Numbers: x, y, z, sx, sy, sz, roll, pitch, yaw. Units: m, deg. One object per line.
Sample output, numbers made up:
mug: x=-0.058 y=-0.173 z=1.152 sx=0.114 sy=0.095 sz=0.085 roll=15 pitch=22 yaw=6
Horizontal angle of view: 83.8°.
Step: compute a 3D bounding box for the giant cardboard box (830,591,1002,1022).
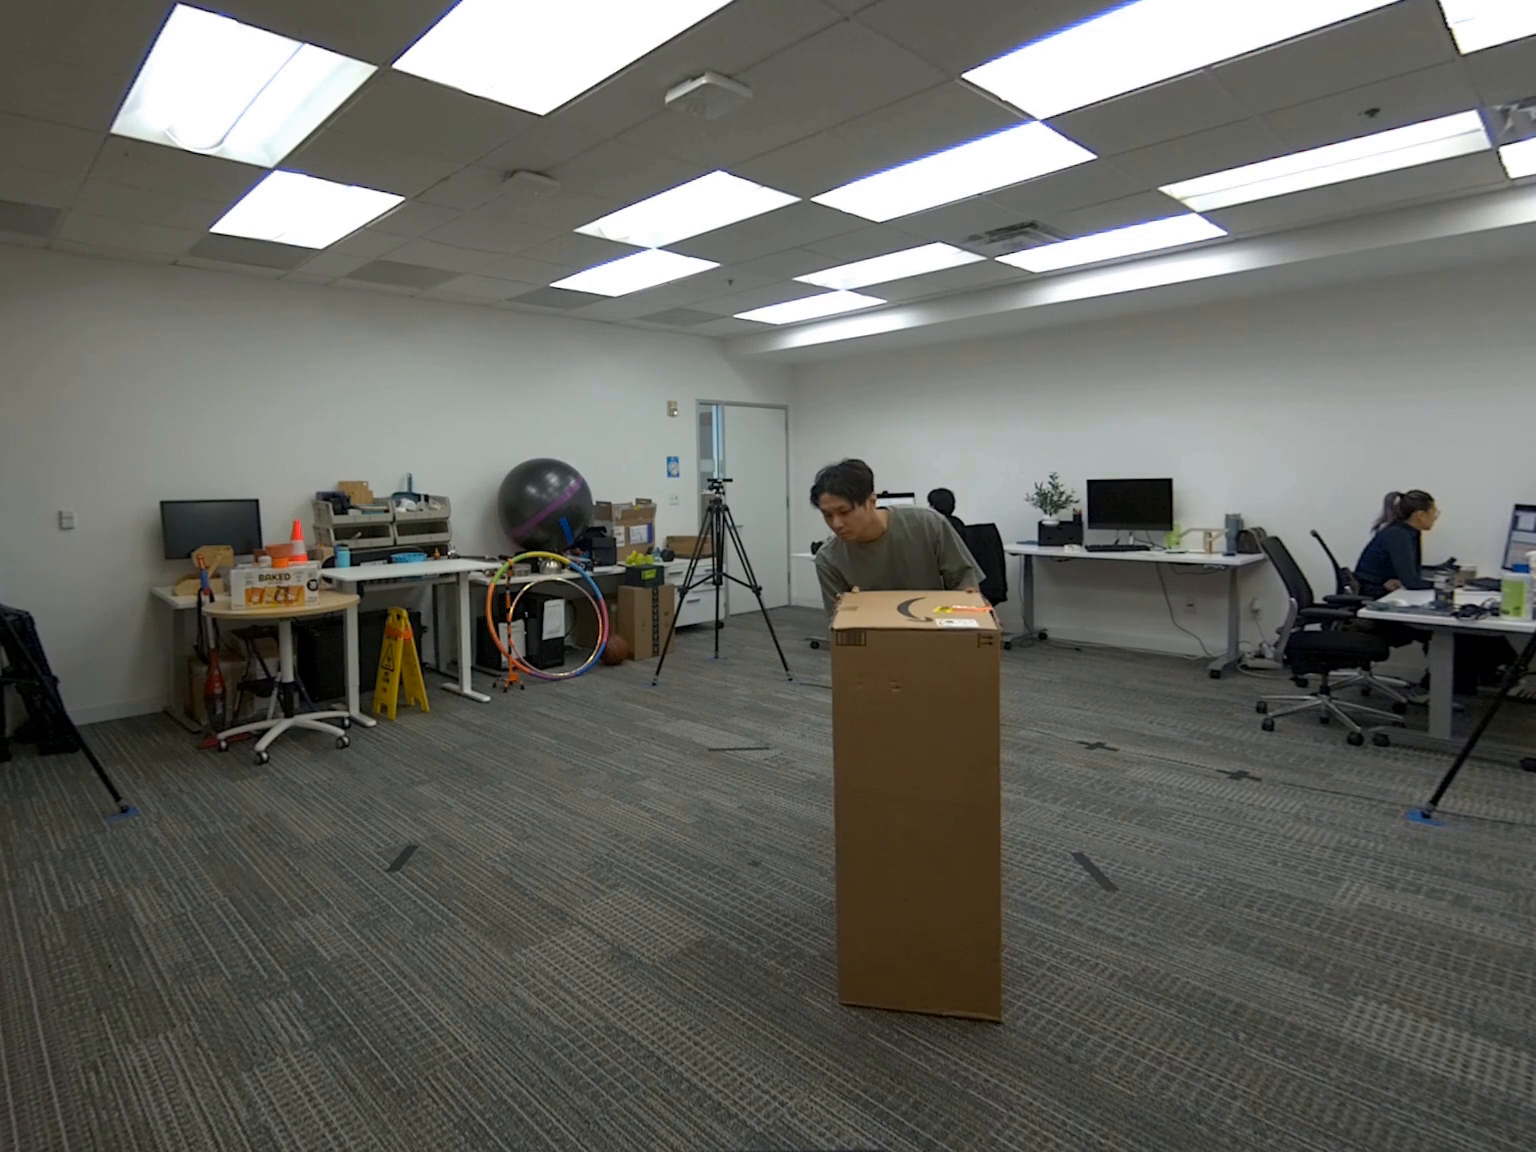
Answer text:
giant cardboard box: x=0.423 y=0.603 z=2.453 sx=0.431 sy=1.021 sz=0.574 roll=-1 pitch=5 yaw=10
